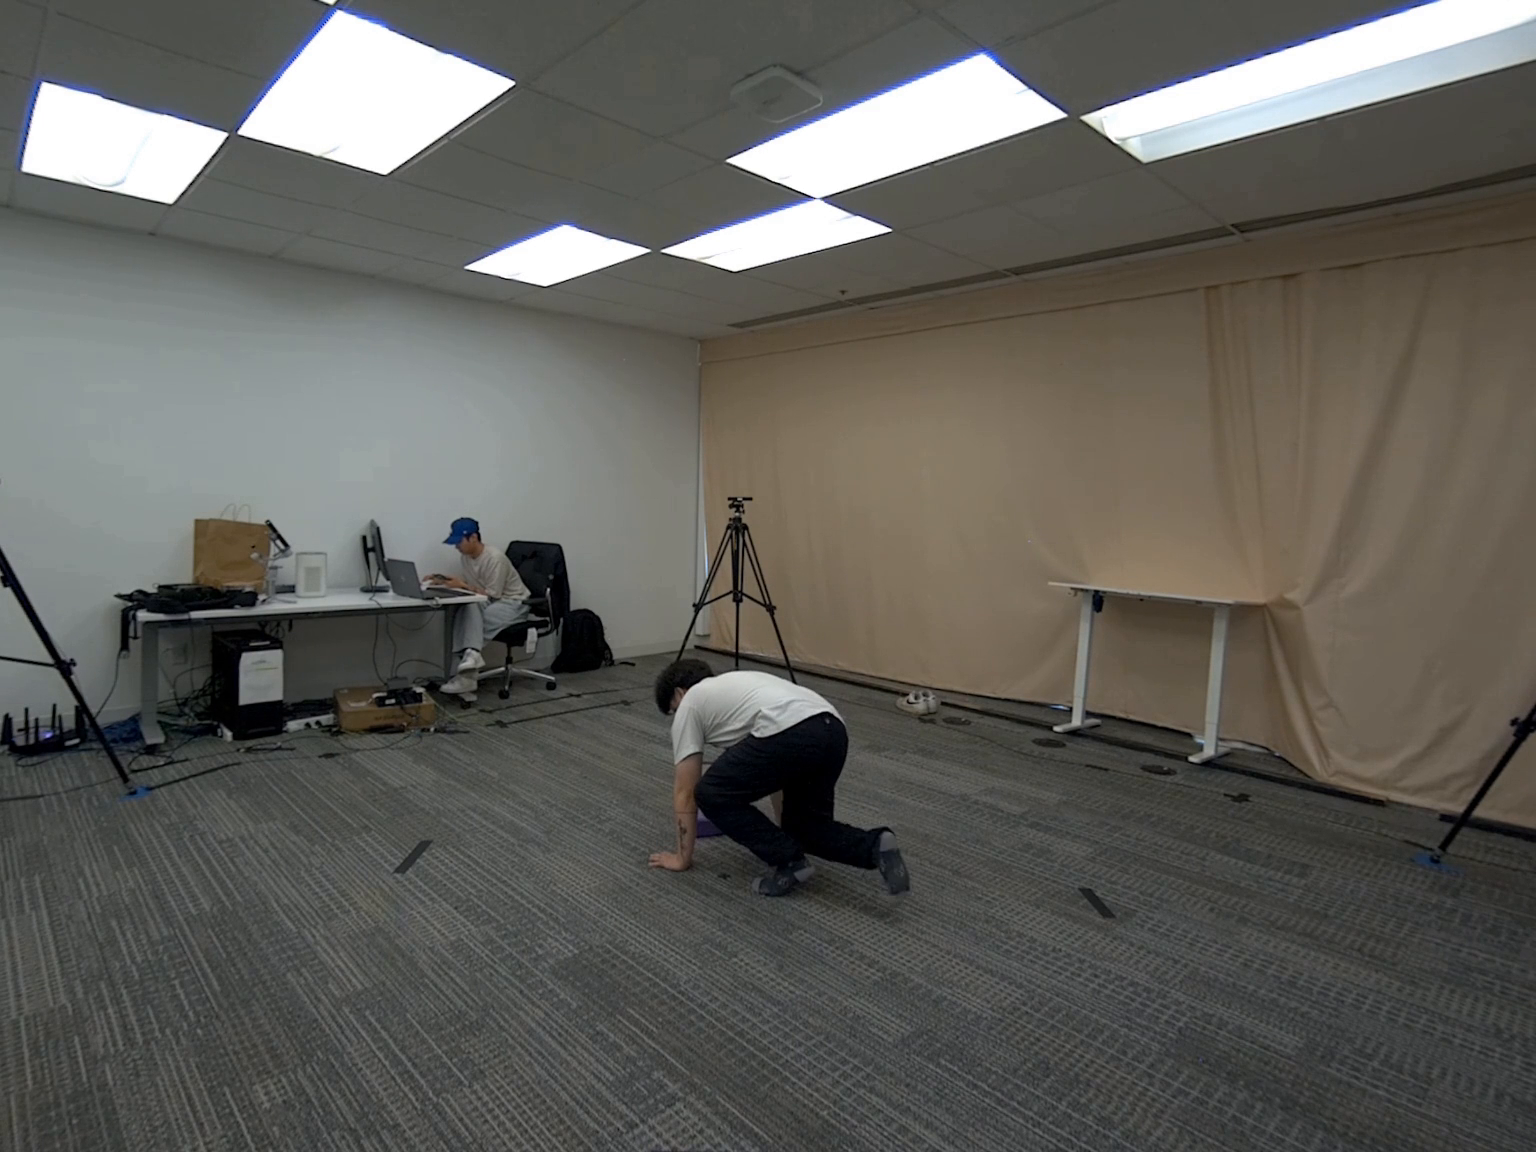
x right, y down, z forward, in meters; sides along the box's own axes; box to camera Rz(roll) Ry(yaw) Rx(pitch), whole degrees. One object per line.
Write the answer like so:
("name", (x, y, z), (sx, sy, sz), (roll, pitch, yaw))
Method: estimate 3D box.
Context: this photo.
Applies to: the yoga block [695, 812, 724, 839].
("yoga block", (-0.278, 1.029, 3.569), (0.146, 0.076, 0.234), (0, 5, -23))
